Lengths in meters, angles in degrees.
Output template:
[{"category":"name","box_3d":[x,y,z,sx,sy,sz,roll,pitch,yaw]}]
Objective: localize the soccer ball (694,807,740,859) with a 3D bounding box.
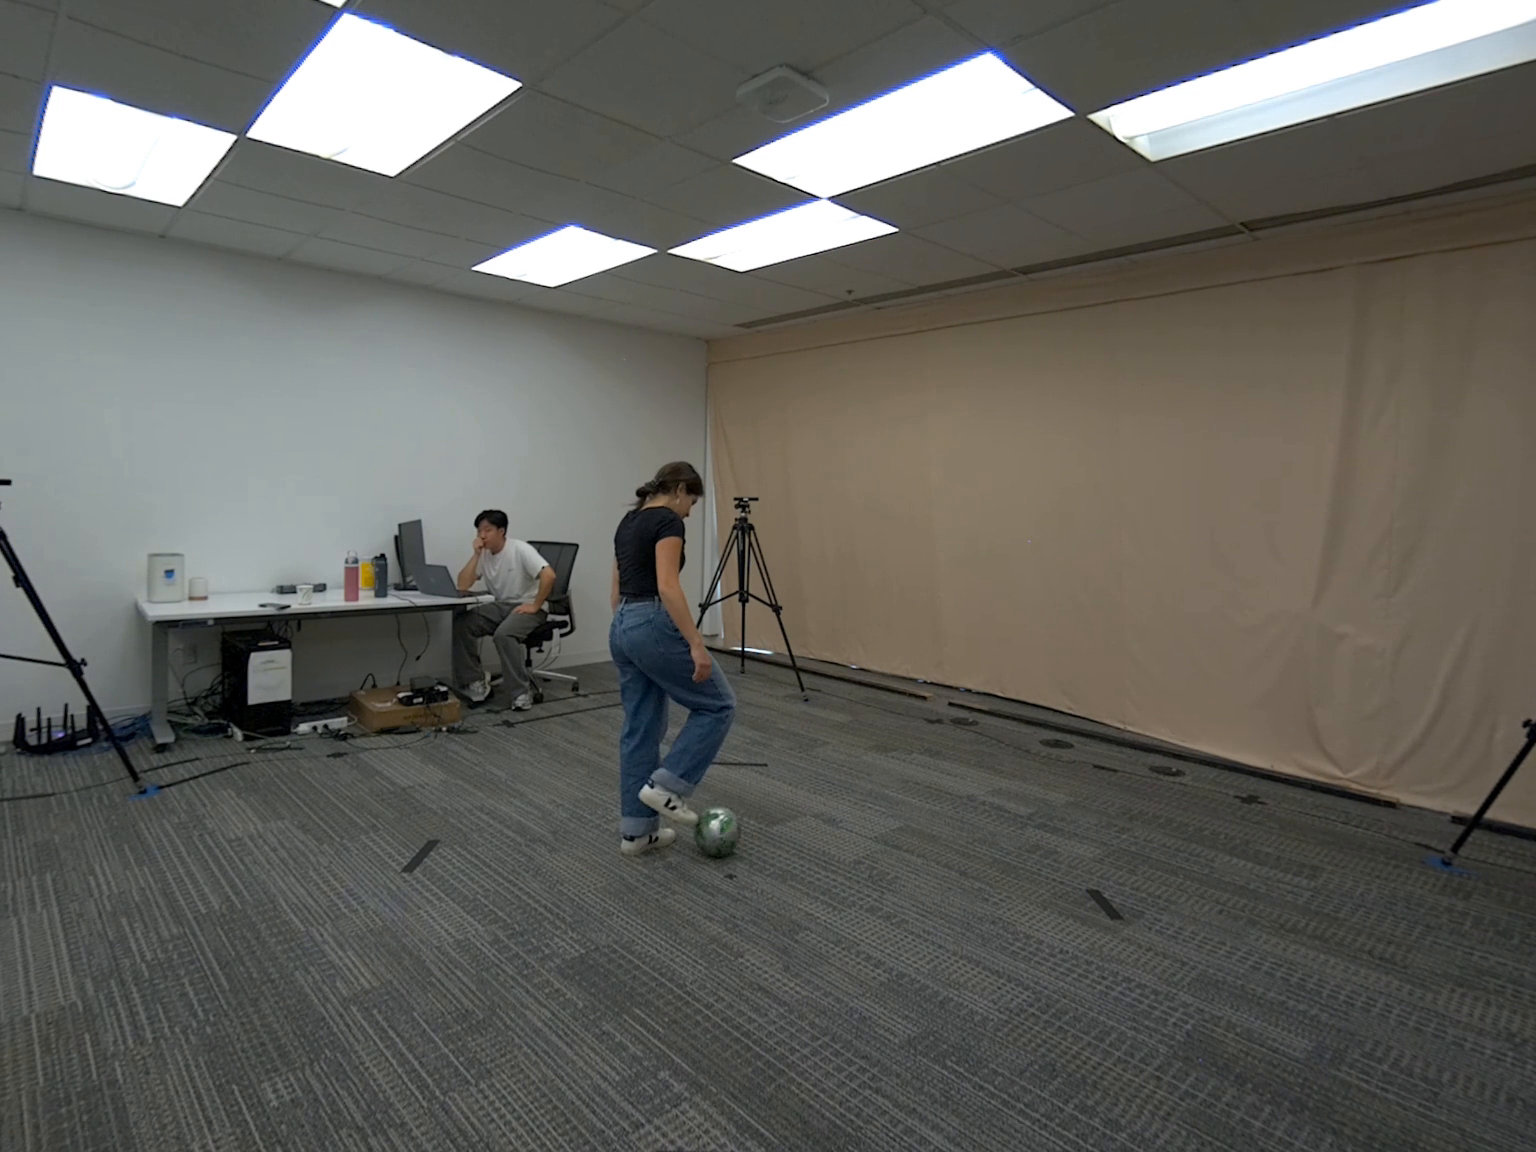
[{"category":"soccer ball","box_3d":[-0.202,0.997,3.285,0.187,0.187,0.188,1,4,-1]}]
